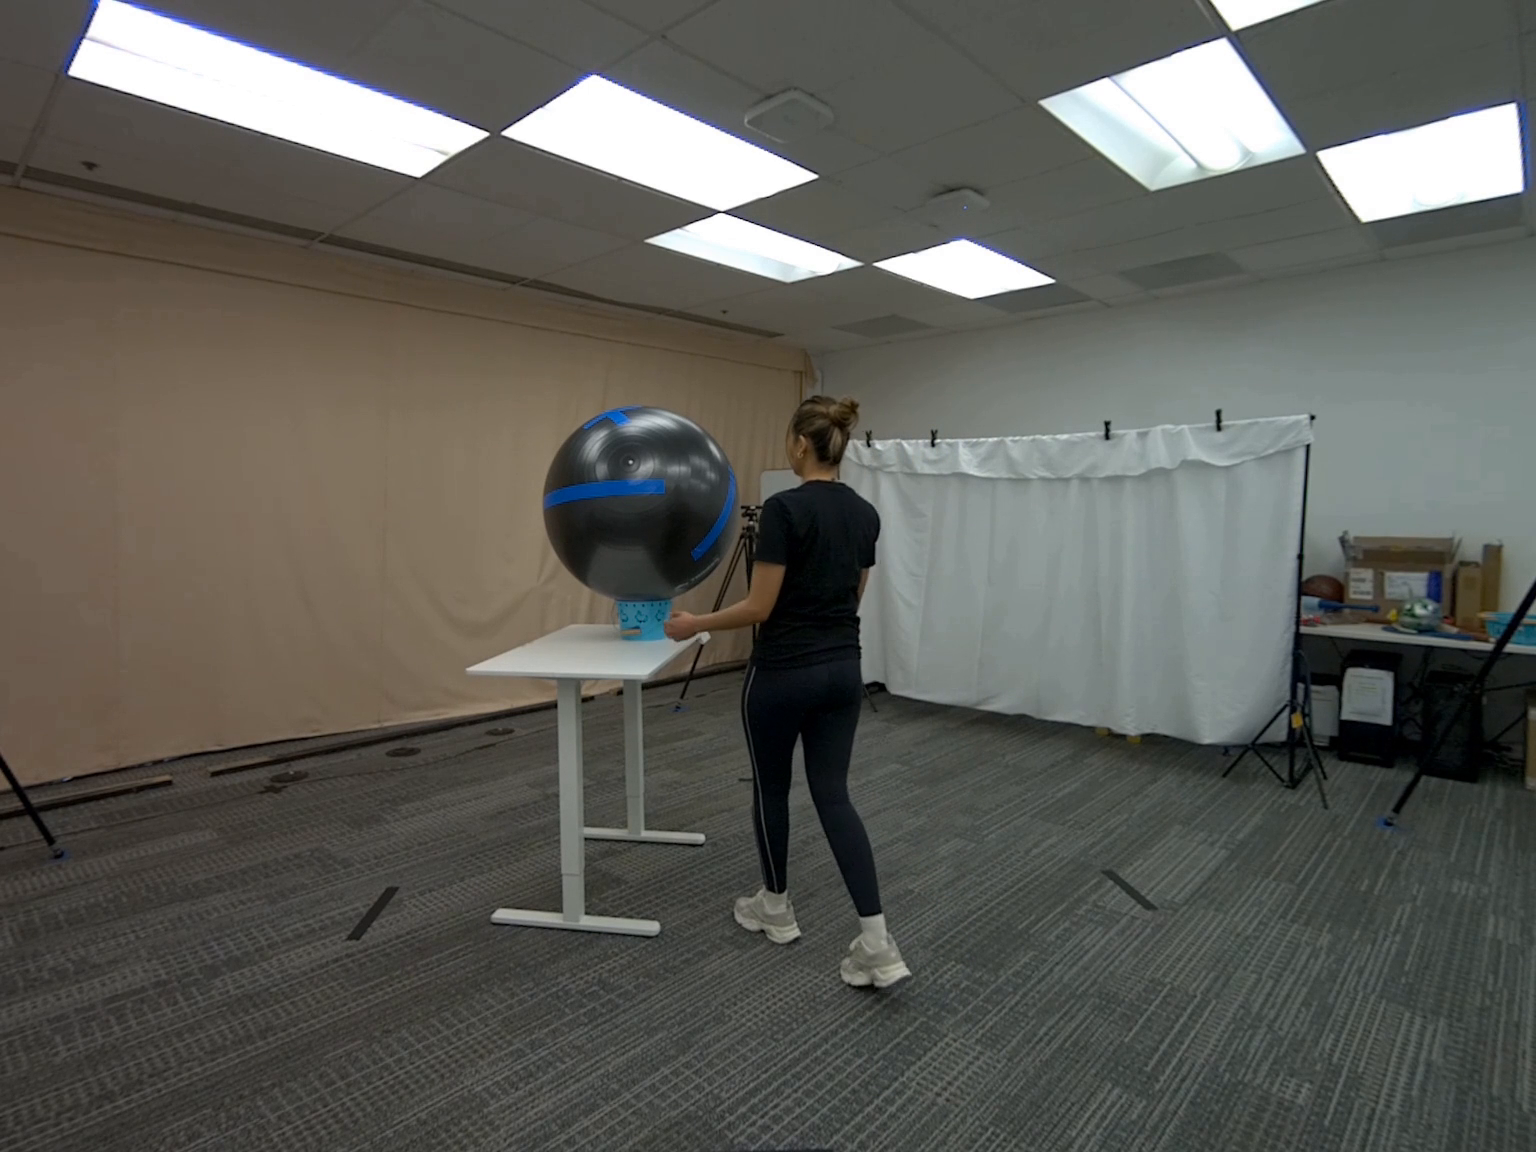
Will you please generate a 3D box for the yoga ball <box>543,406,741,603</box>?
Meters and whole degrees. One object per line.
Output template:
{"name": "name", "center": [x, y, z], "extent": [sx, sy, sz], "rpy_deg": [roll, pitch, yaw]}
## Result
{"name": "yoga ball", "center": [-0.486, -0.269, 3.264], "extent": [0.757, 0.756, 0.761], "rpy_deg": [0, 4, -2]}
